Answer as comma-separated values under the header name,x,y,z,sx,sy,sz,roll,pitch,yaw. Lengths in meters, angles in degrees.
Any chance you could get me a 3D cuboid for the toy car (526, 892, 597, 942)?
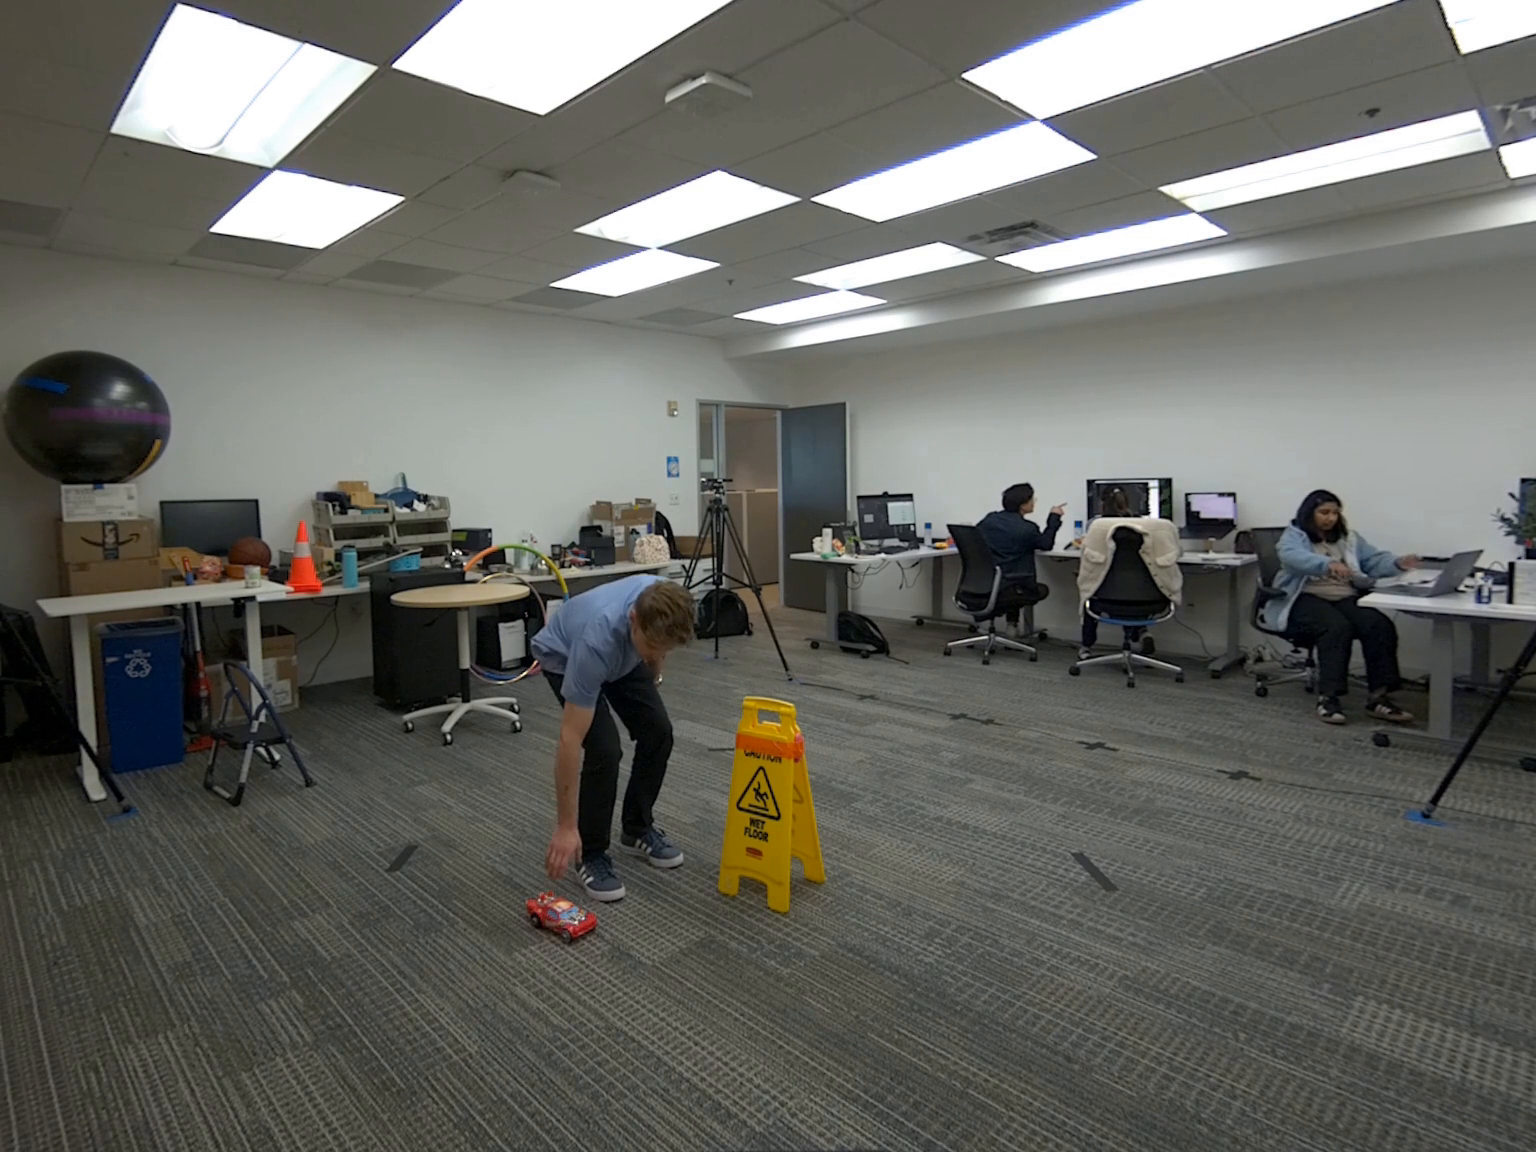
name,x,y,z,sx,sy,sz,roll,pitch,yaw
toy car,-0.658,1.078,2.693,0.263,0.082,0.127,17,16,37
